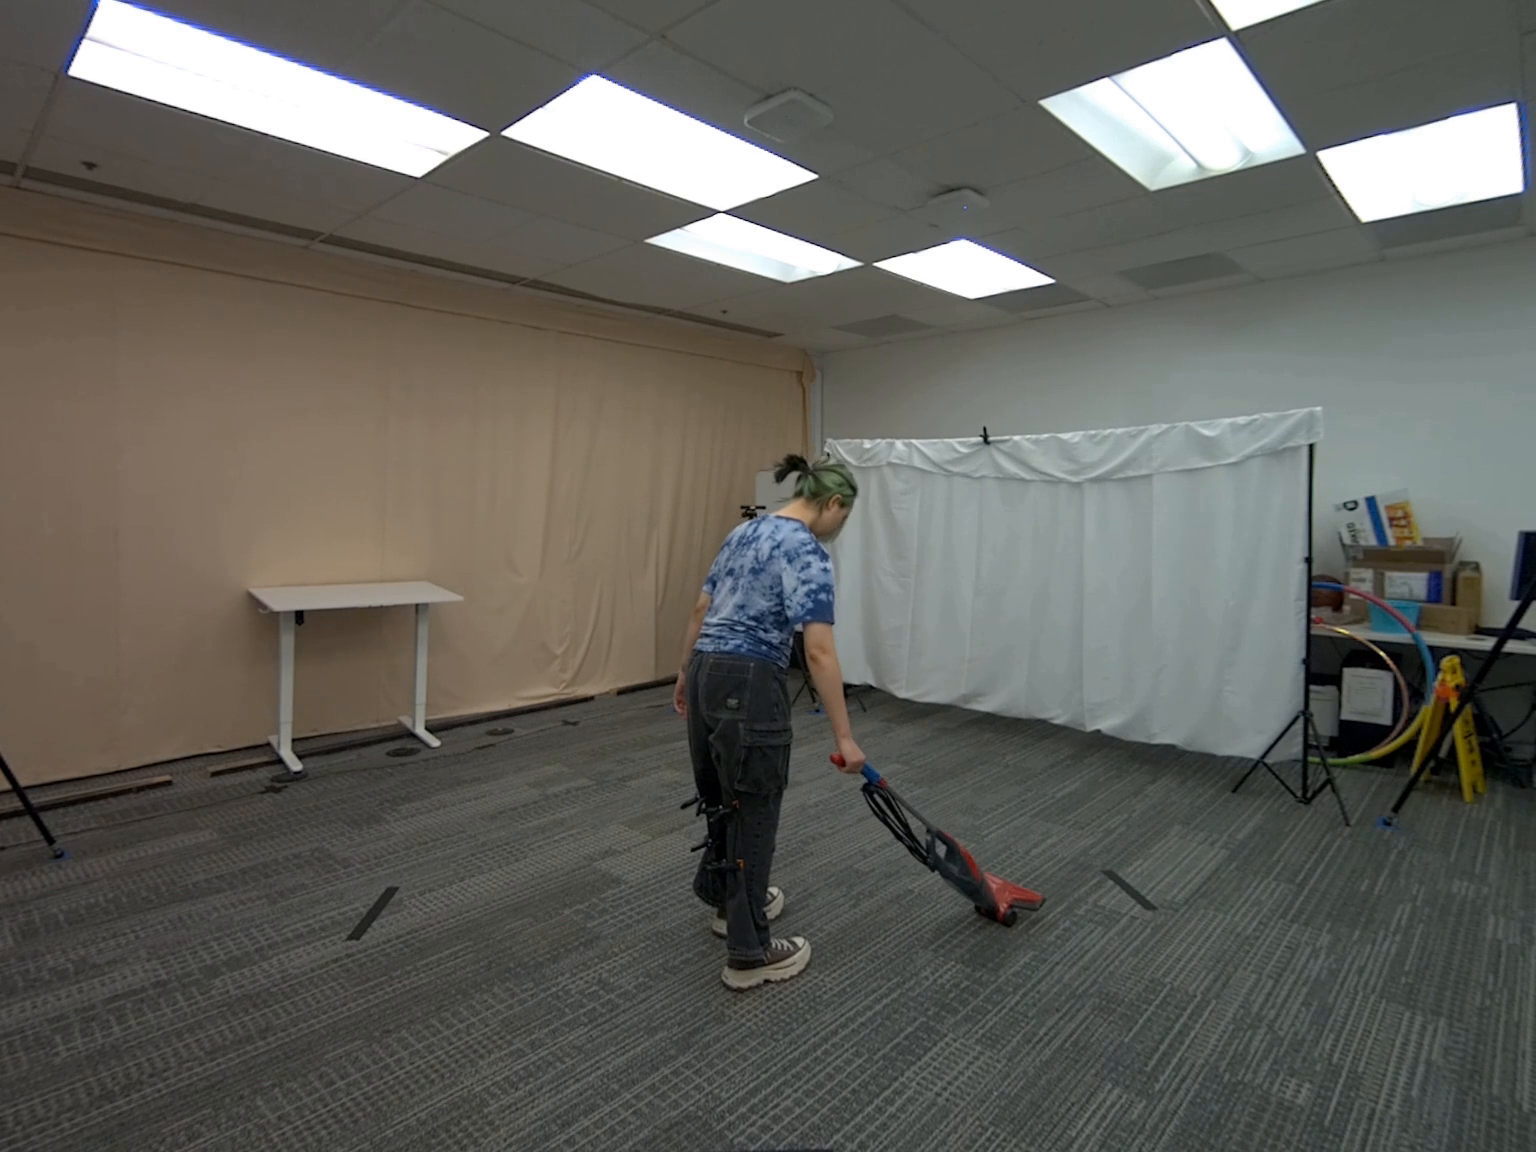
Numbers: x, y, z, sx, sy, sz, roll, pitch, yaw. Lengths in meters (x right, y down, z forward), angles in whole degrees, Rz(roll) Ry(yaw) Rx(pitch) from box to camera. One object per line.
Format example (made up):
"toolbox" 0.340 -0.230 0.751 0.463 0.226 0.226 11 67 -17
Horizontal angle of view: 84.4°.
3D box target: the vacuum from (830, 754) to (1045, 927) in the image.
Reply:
"vacuum" 0.495 0.819 2.584 0.261 0.144 1.016 3 -33 51
